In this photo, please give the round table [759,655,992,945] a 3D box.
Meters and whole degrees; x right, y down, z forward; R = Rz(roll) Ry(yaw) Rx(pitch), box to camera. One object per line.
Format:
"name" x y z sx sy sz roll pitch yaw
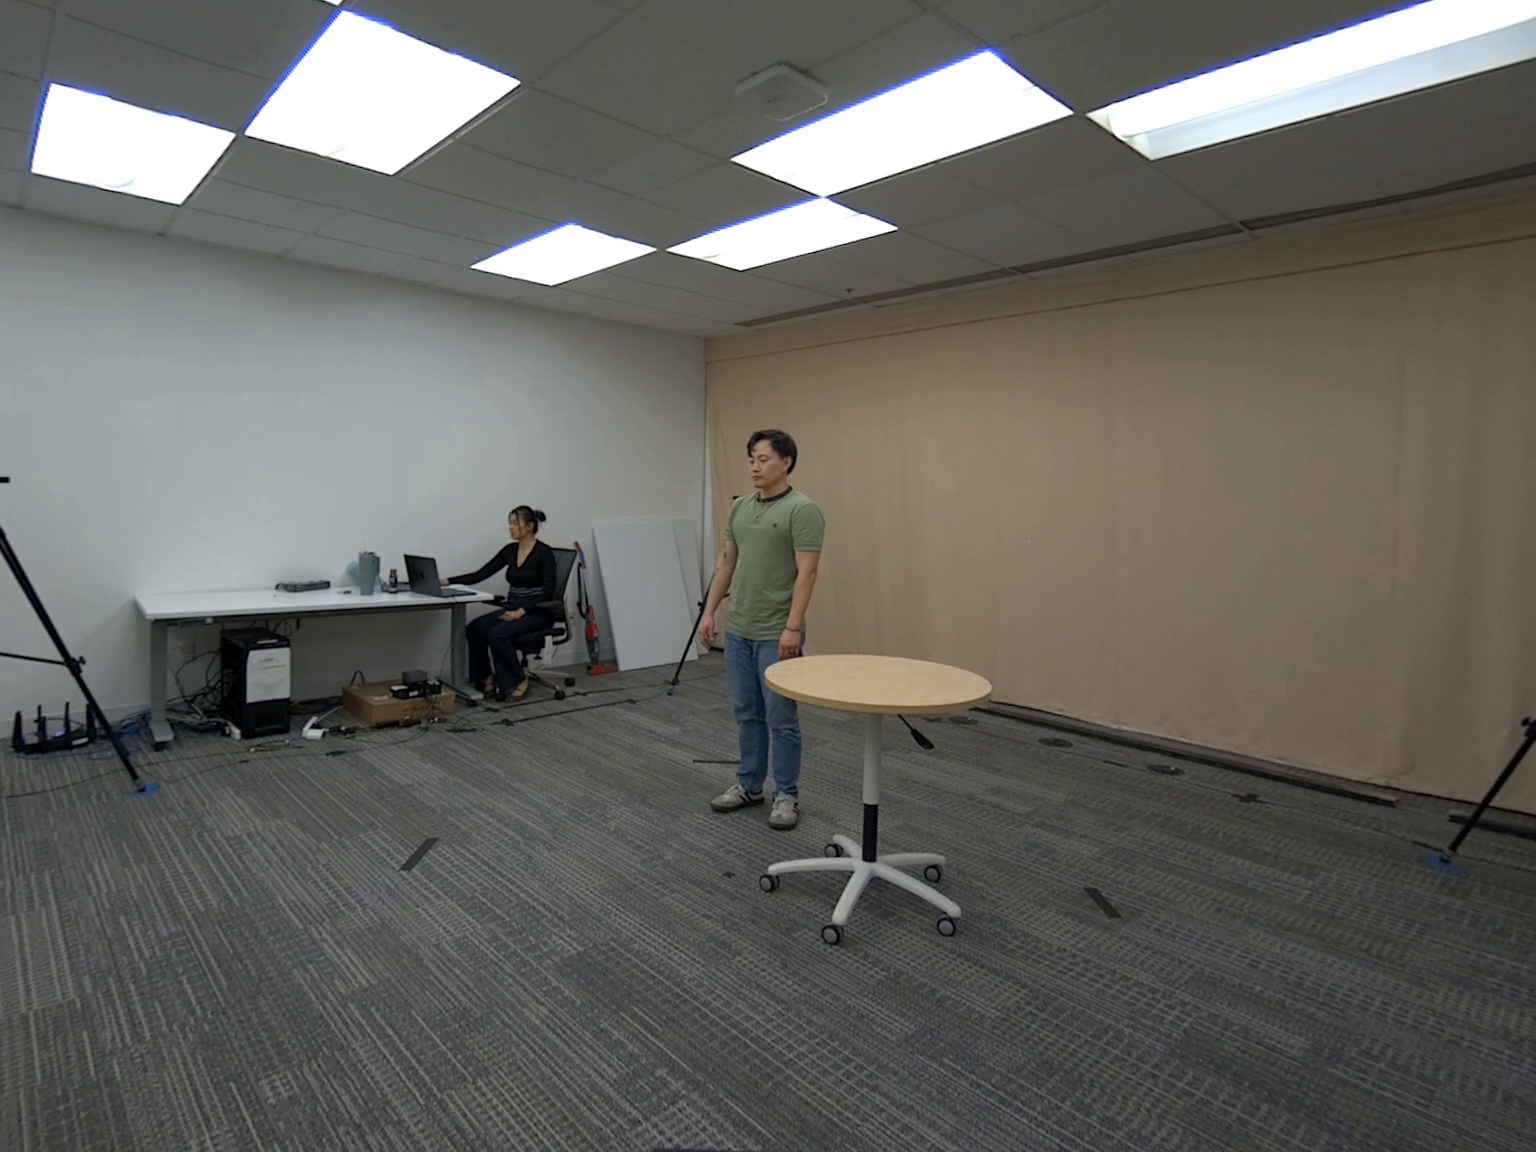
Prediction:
"round table" 0.353 0.743 2.912 0.763 0.791 0.767 2 5 -2
